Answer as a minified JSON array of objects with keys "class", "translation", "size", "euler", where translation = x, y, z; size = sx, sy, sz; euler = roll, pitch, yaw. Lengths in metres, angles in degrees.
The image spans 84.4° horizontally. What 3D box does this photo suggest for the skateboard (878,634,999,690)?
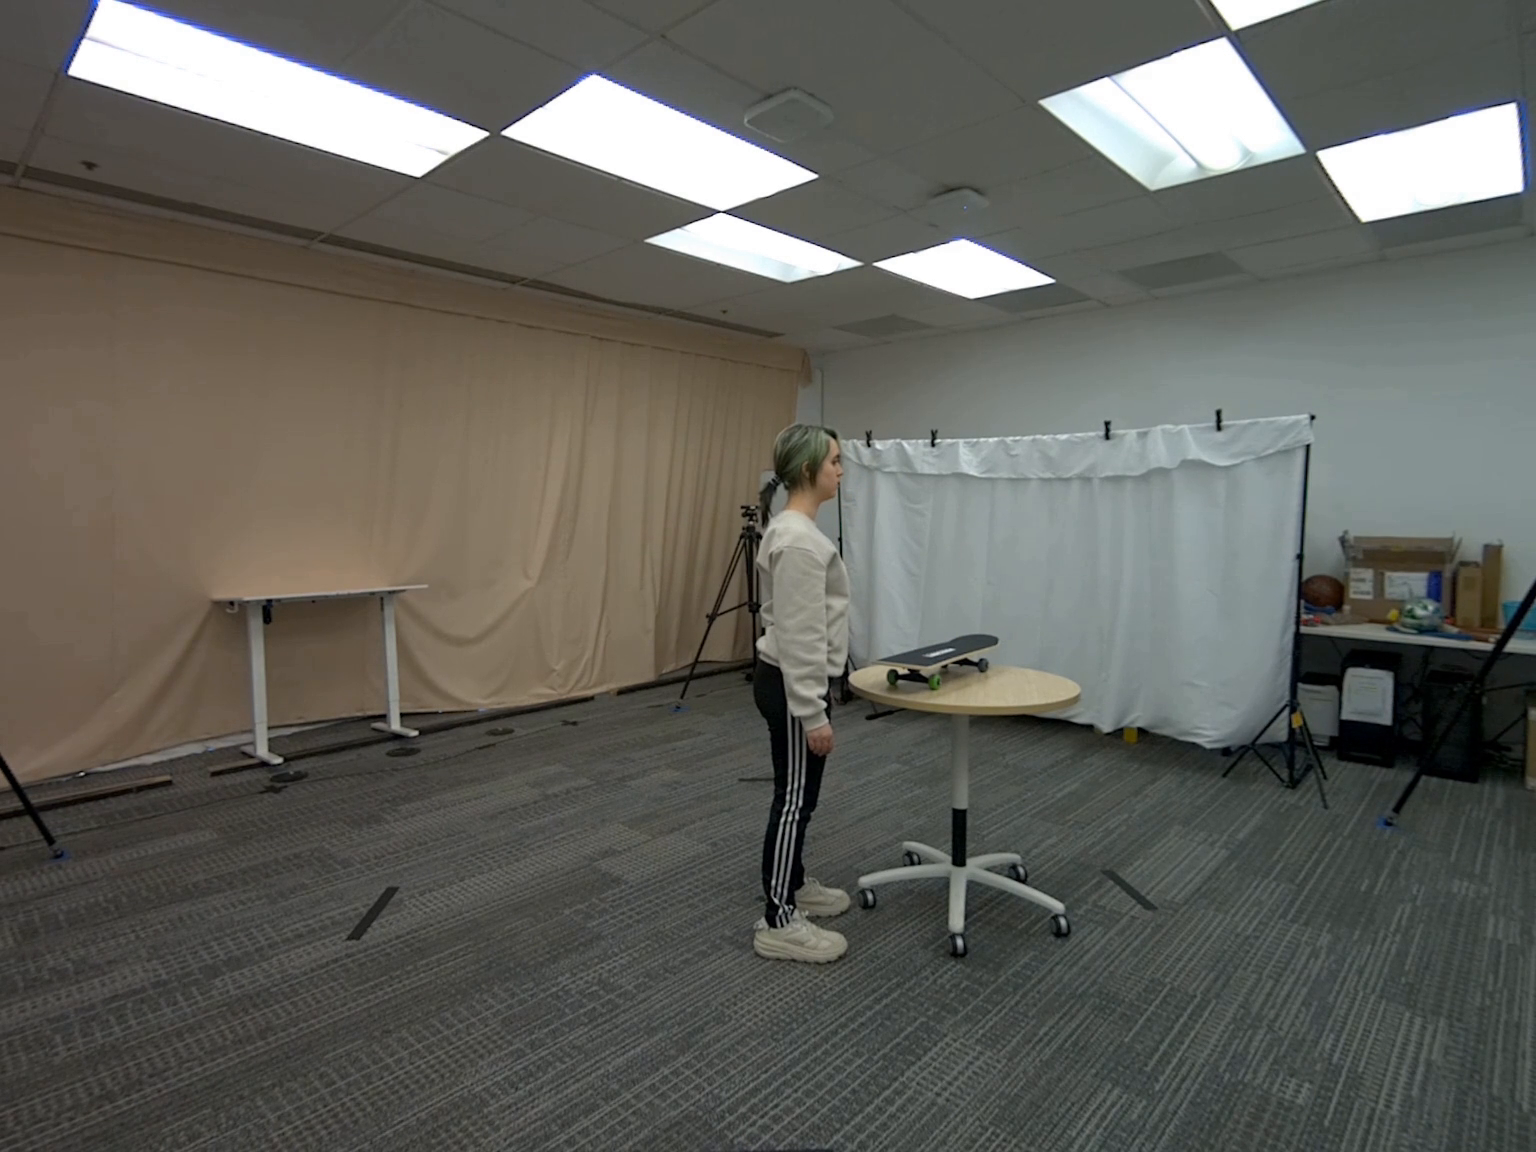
[{"class":"skateboard","translation":[0.616,0.311,2.955],"size":[0.199,0.110,0.761],"euler":[0,3,40]}]
